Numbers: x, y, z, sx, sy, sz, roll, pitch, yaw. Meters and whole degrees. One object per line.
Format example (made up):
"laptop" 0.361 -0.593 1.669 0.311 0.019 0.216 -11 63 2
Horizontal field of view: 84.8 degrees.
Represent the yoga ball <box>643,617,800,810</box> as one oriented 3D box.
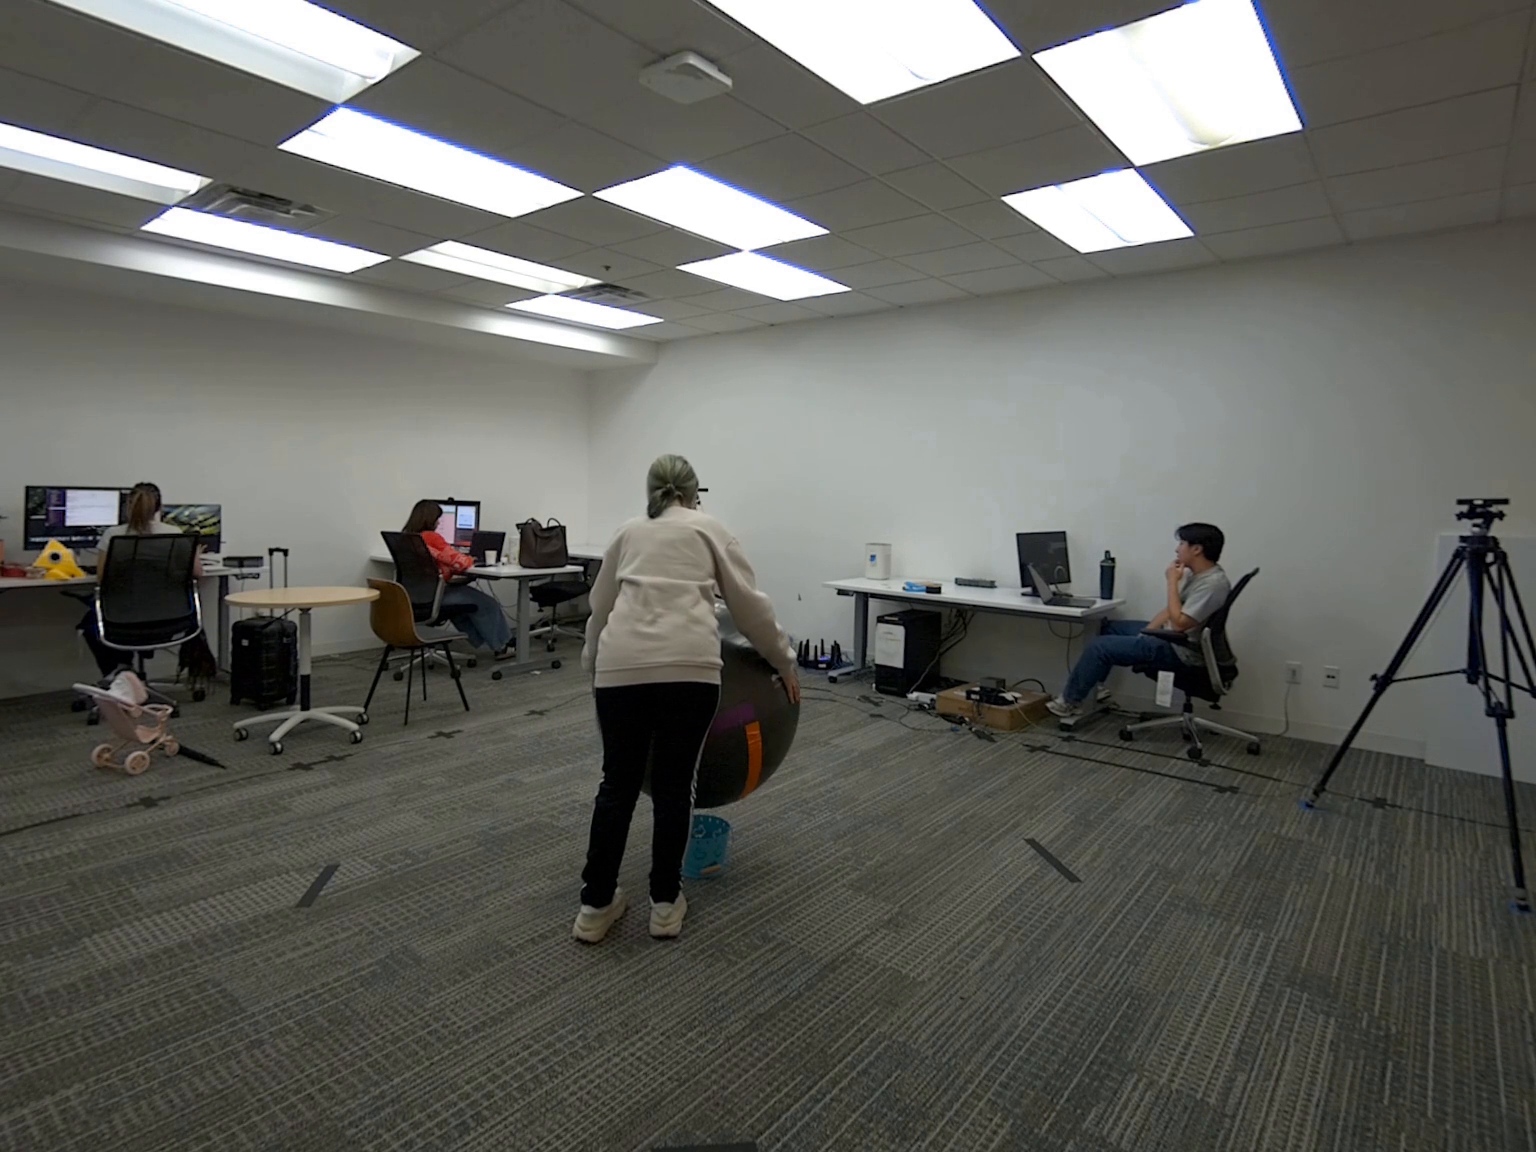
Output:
"yoga ball" -0.269 0.454 3.126 0.757 0.755 0.762 1 4 -2
